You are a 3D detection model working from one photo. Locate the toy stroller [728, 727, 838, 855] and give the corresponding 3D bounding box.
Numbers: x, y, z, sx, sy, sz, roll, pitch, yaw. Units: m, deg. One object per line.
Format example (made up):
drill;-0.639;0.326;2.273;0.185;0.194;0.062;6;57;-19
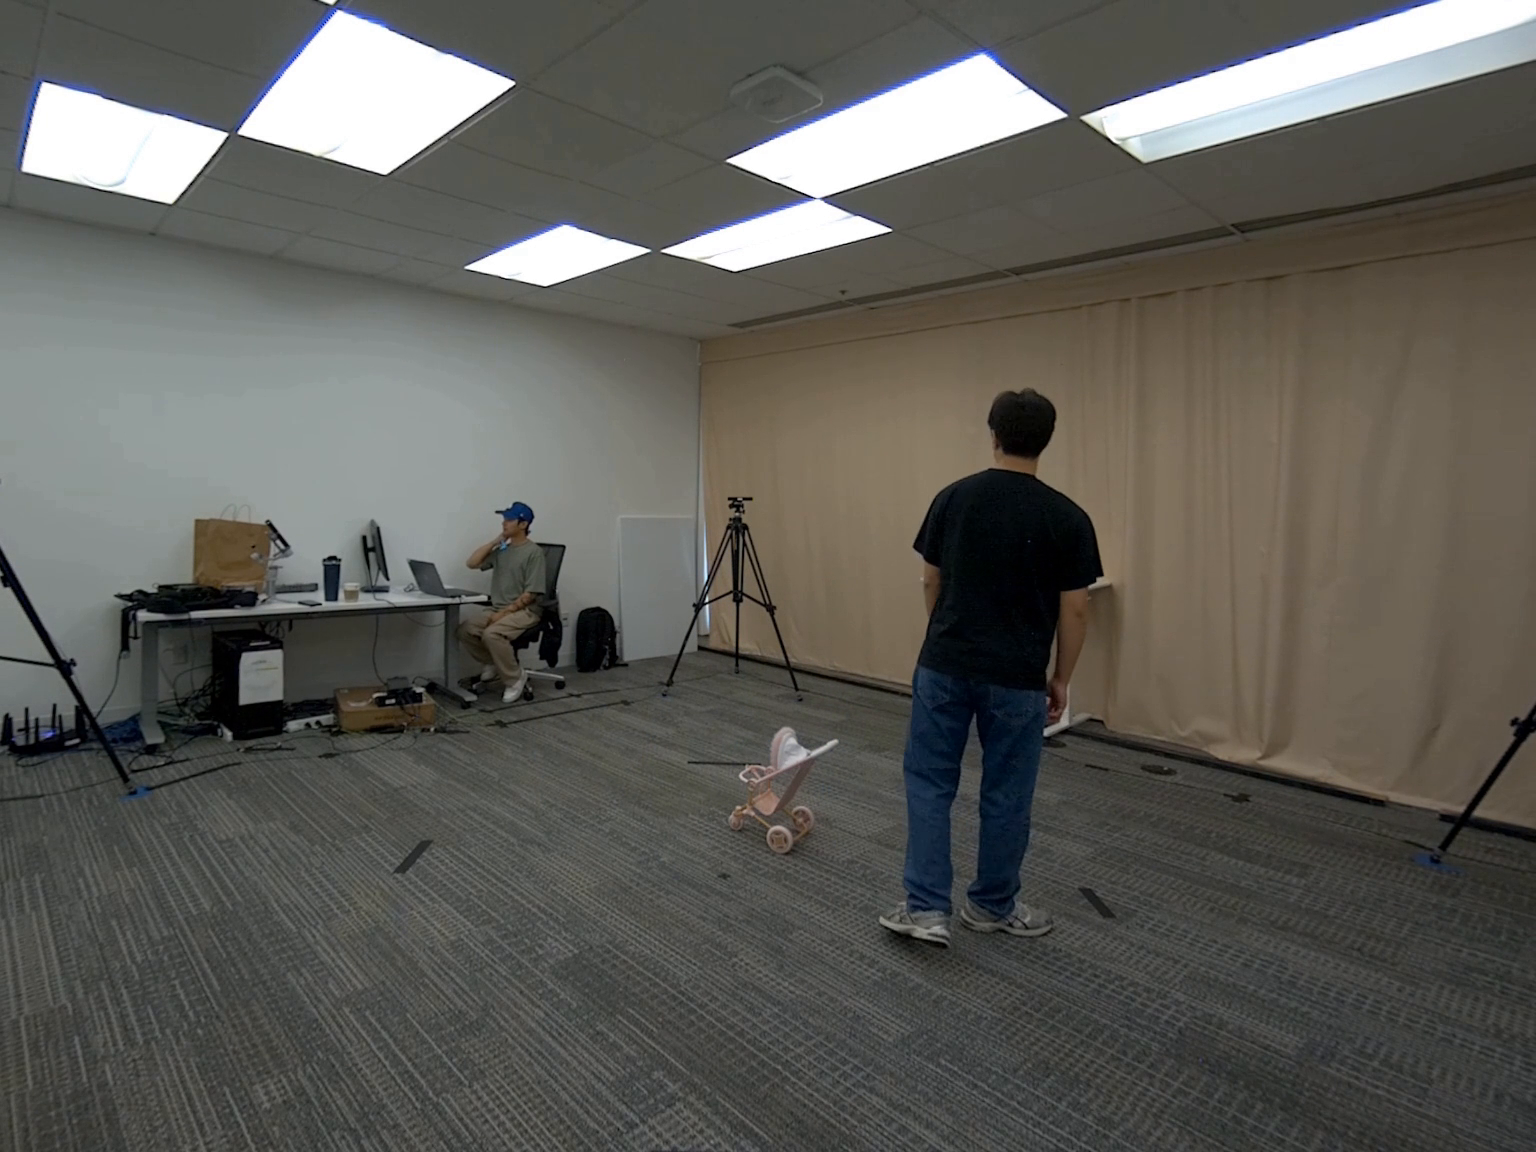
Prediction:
toy stroller;0.036;0.858;3.452;0.350;0.532;0.276;22;12;27
